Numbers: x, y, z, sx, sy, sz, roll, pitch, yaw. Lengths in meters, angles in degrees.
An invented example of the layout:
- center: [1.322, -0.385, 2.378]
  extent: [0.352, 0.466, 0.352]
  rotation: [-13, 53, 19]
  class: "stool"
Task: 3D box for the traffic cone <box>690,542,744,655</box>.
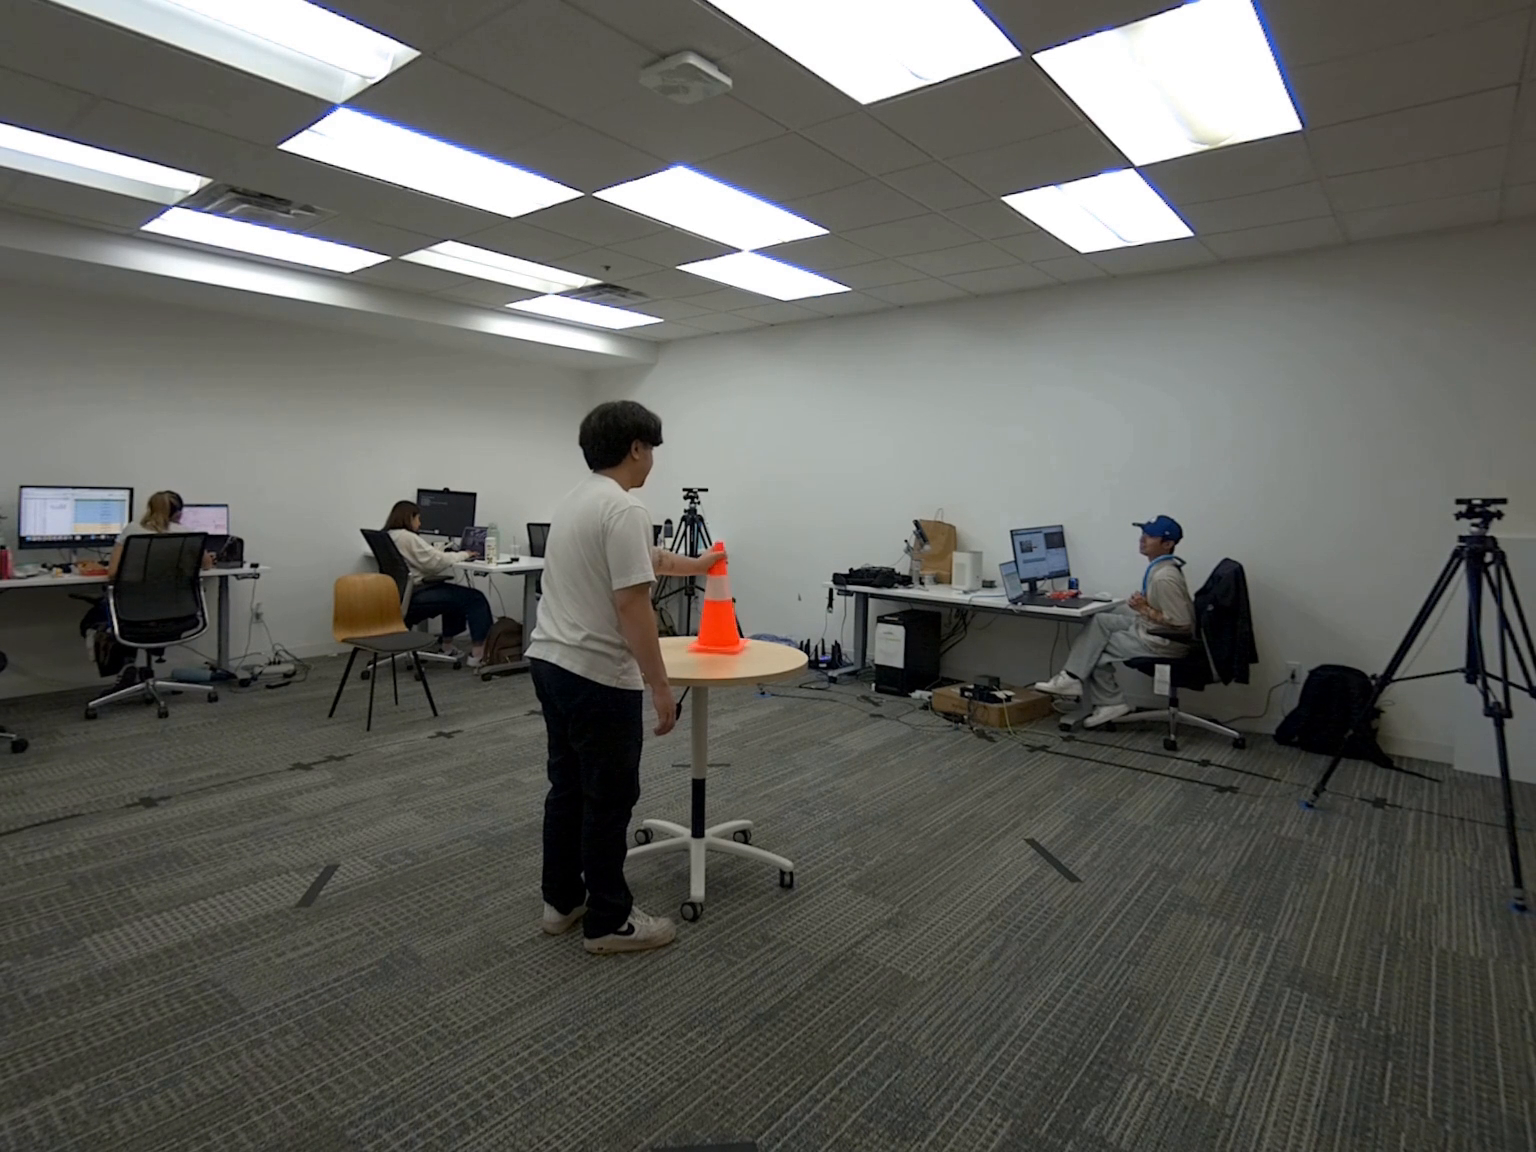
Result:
- center: [-0.189, 0.062, 3.131]
  extent: [0.208, 0.382, 0.201]
  rotation: [2, 5, 15]
  class: "traffic cone"
